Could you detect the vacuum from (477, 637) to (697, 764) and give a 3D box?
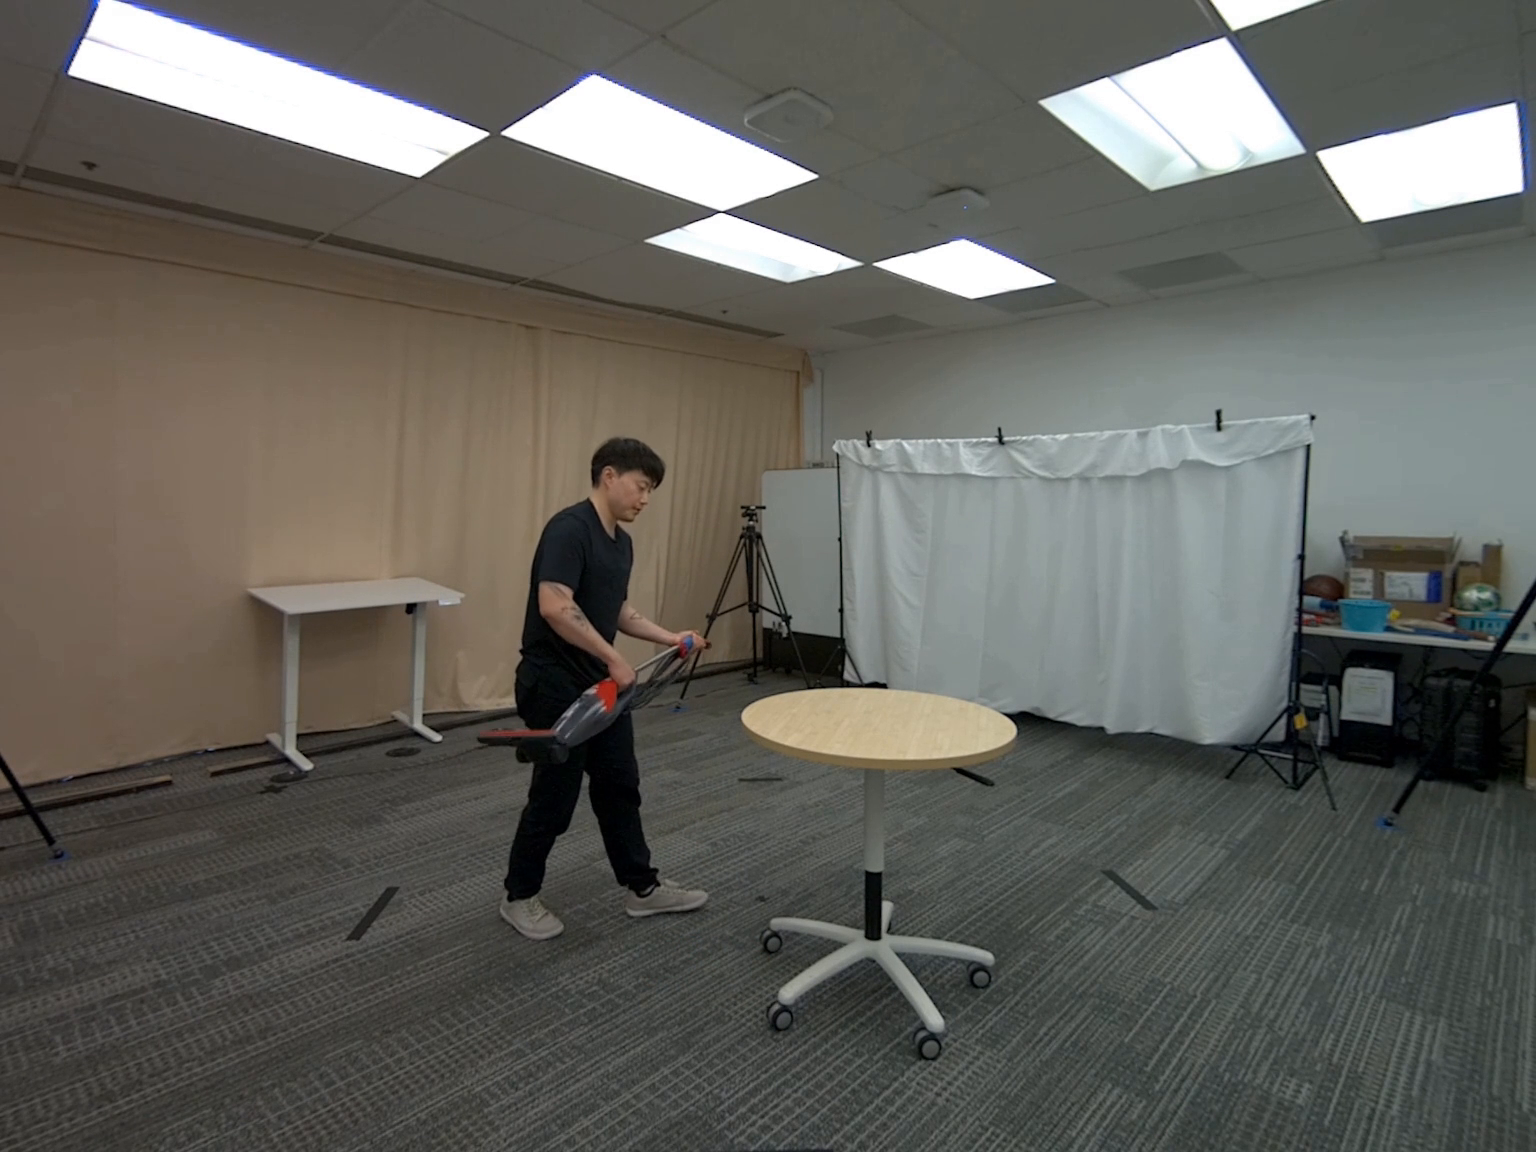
[{"bbox_3d":[-0.406,0.341,2.594,0.259,0.143,1.029,-5,8,26],"label":"vacuum"}]
